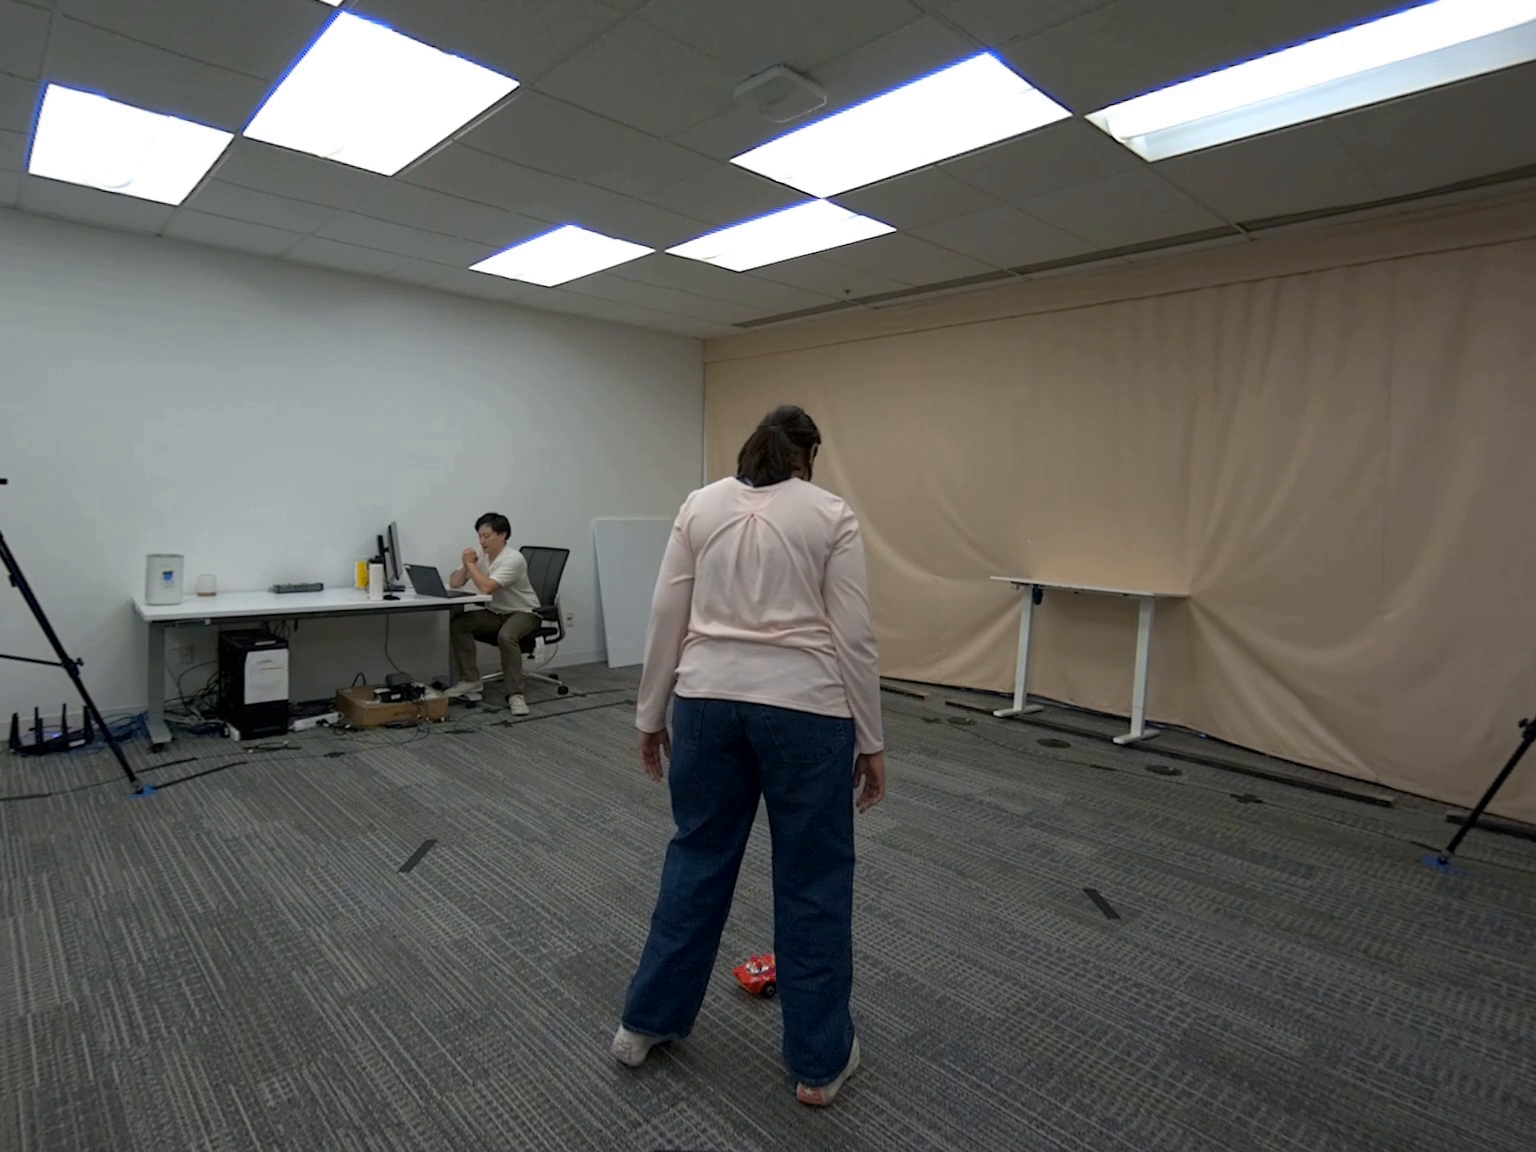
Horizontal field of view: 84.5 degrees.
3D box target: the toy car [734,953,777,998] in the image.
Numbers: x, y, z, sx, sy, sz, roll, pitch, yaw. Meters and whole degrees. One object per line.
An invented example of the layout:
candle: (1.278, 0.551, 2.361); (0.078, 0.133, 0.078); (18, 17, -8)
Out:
toy car: (0.011, 1.143, 2.418); (0.248, 0.083, 0.133); (12, -2, -30)
